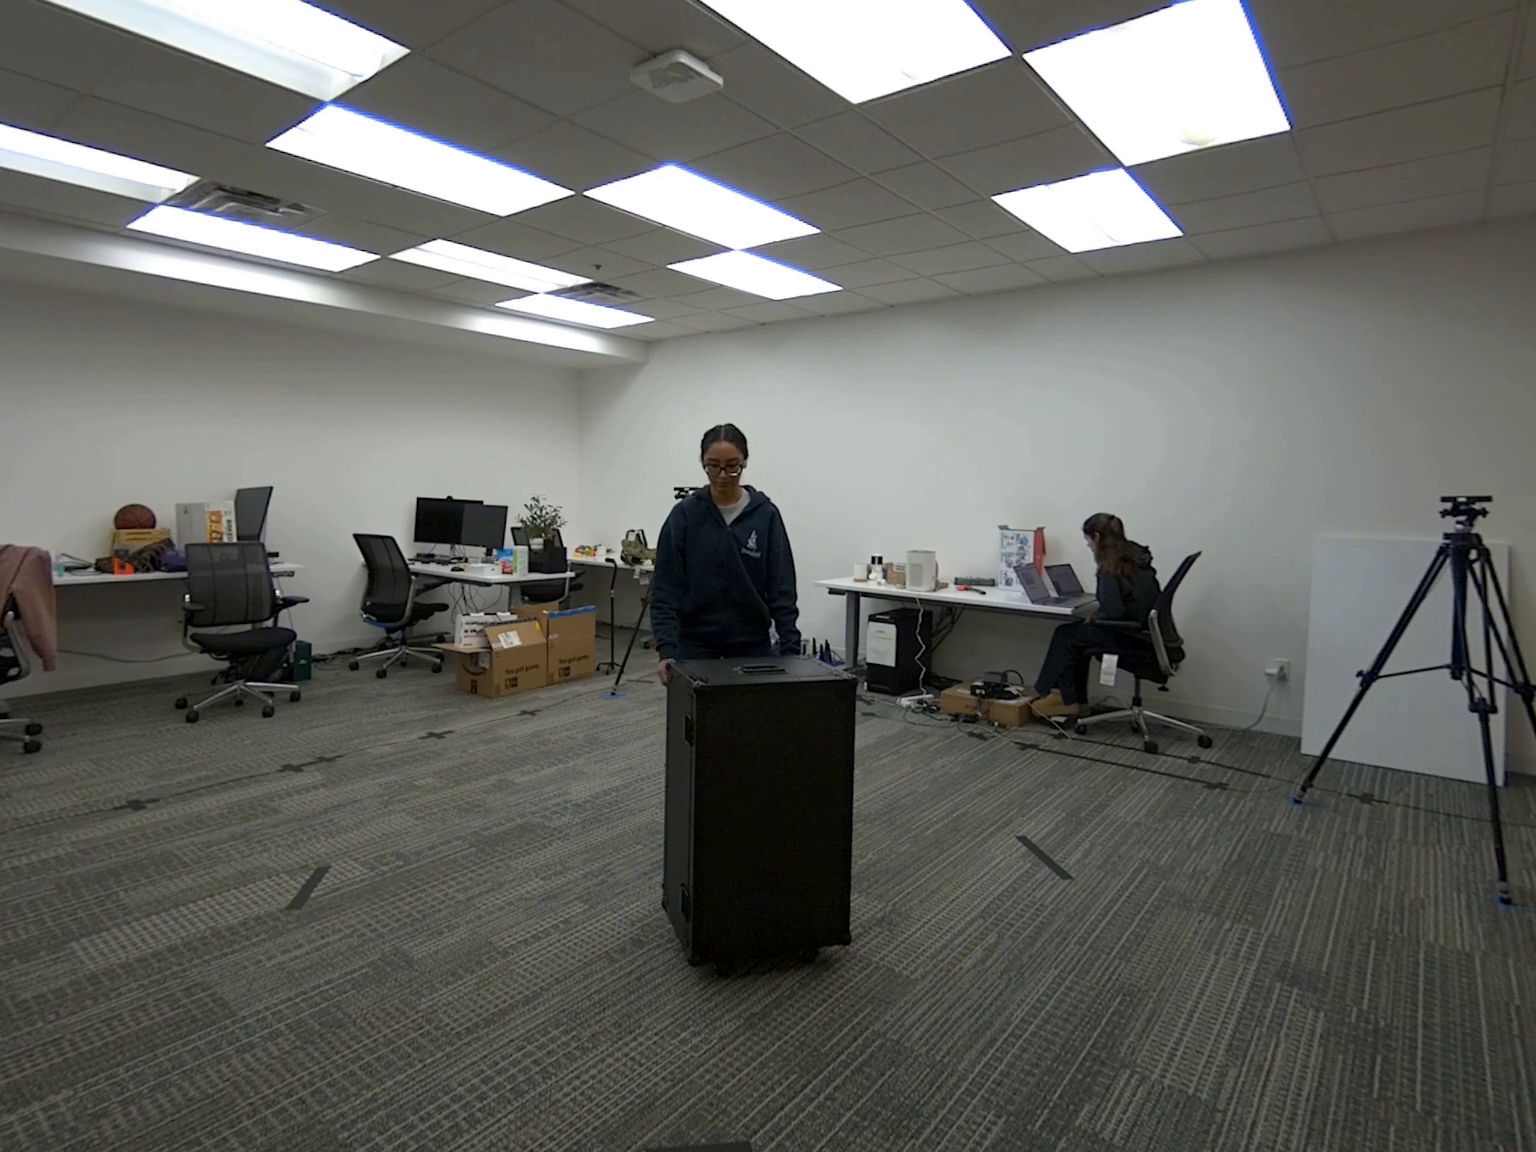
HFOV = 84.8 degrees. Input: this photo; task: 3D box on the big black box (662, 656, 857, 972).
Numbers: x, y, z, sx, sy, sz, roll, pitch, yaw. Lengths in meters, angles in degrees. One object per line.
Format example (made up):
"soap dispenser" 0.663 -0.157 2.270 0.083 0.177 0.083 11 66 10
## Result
"big black box" -0.054 0.696 2.563 0.512 0.860 0.404 -1 2 -19
